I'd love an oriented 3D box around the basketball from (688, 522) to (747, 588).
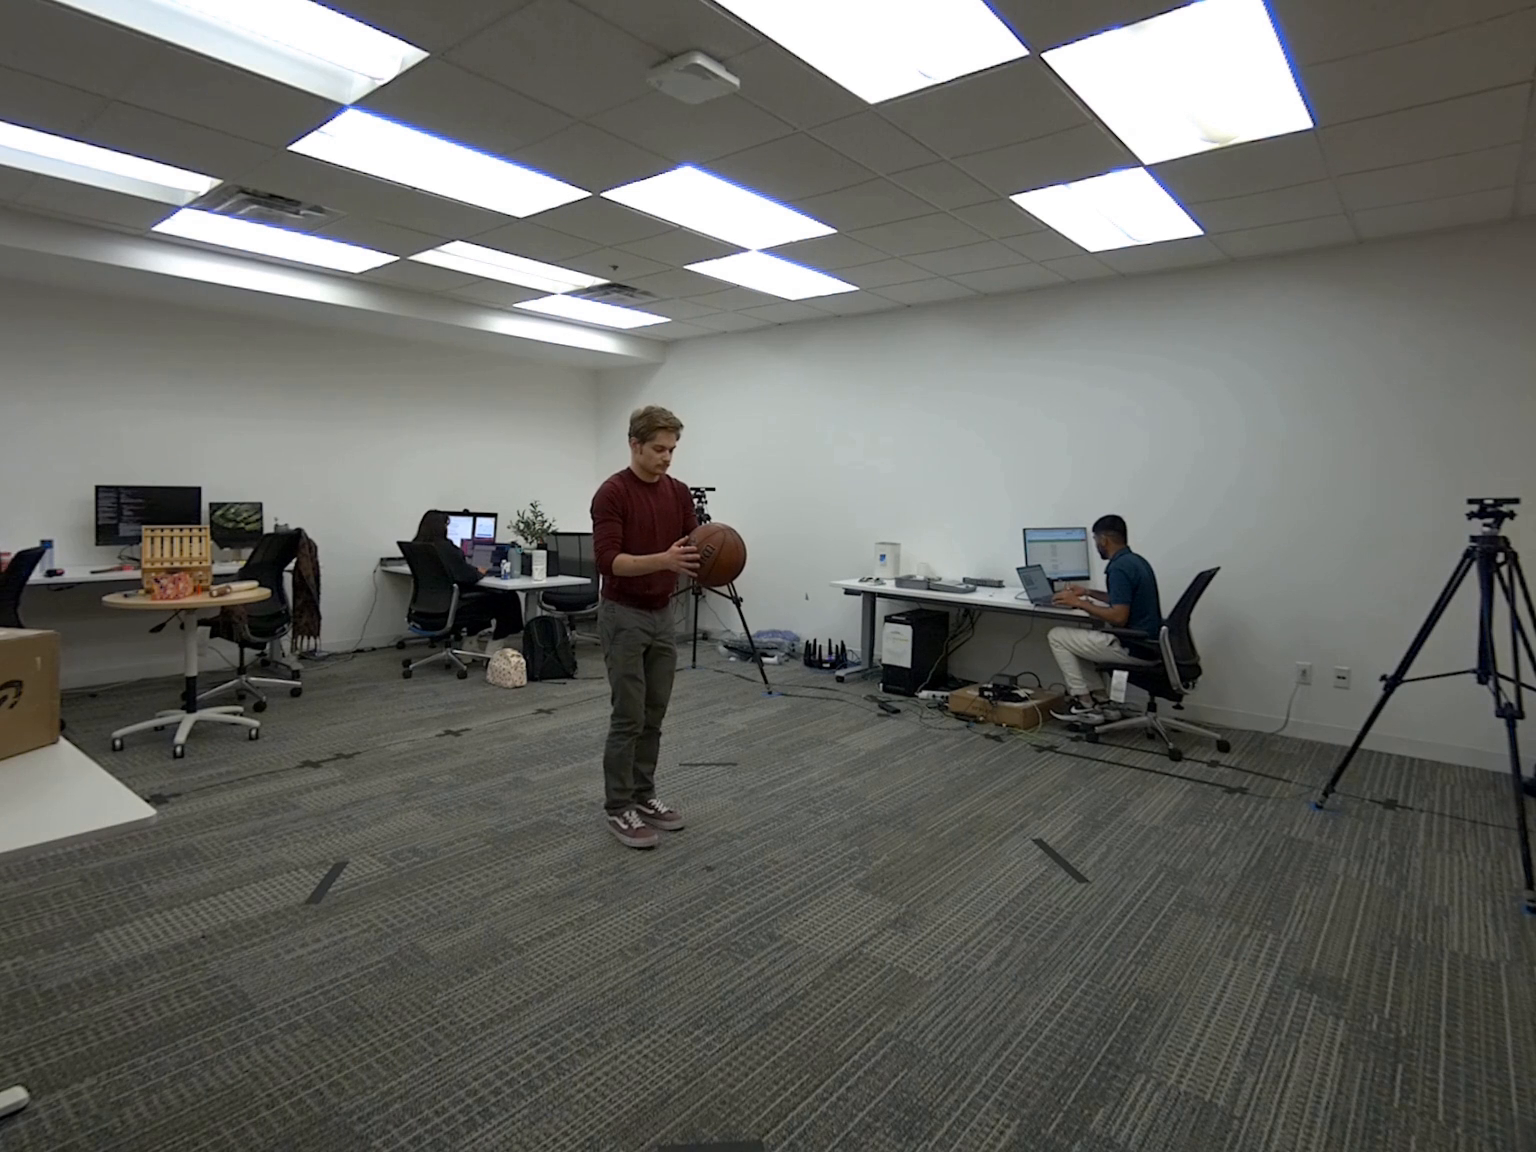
[{"bbox_3d":[-0.205,-0.087,3.141,0.235,0.235,0.237,1,4,-2],"label":"basketball"}]
